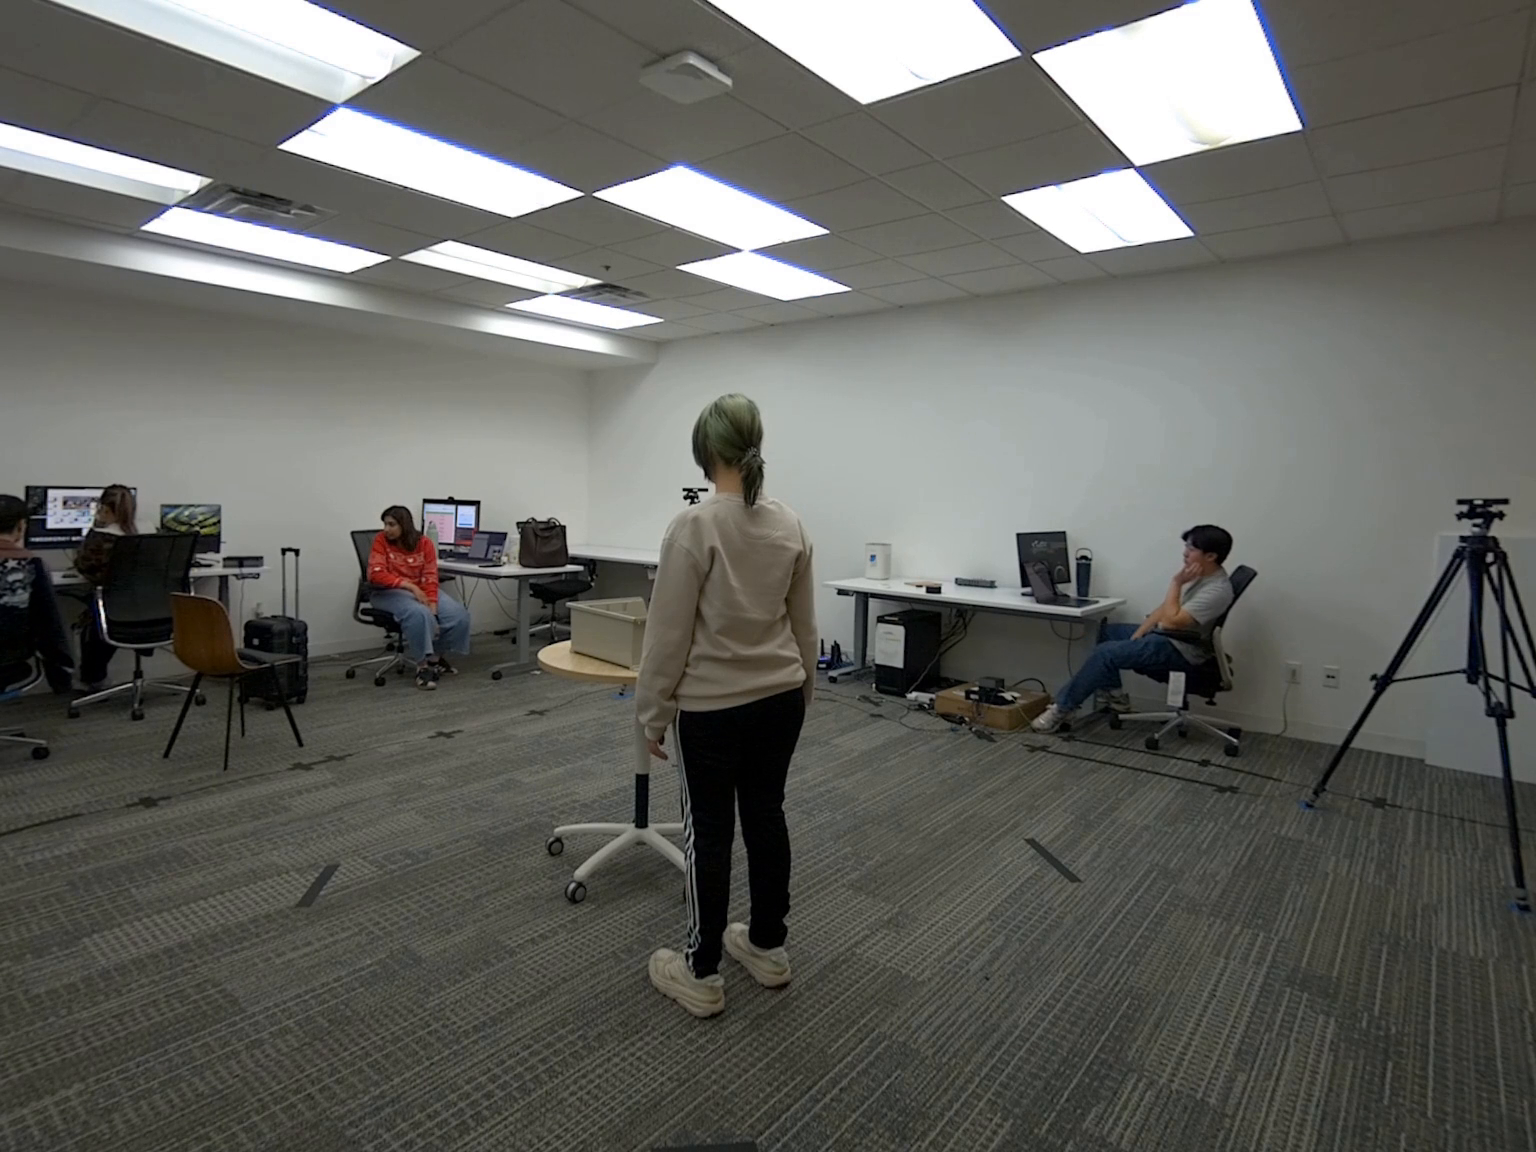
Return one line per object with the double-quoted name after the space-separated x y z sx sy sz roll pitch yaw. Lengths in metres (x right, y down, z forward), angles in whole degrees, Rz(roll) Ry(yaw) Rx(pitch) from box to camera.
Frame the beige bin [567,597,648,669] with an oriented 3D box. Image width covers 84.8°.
-0.466 0.197 3.061 0.366 0.188 0.437 -5 9 -43 "beige bin"
